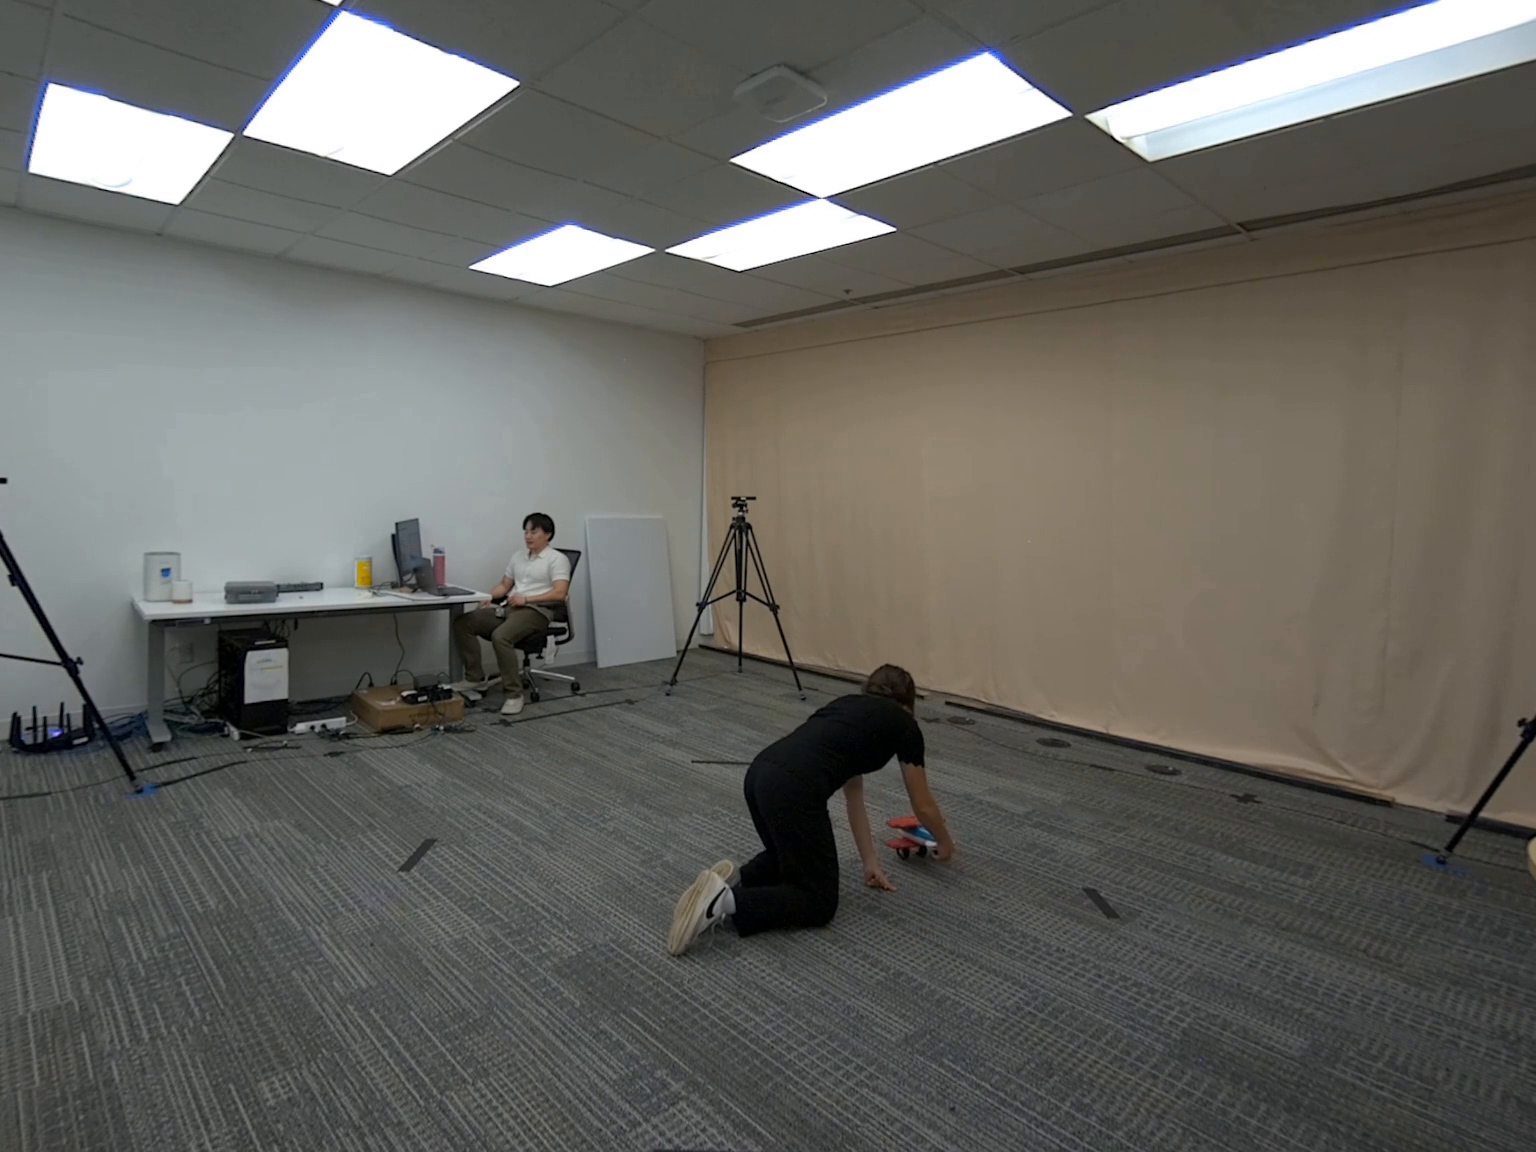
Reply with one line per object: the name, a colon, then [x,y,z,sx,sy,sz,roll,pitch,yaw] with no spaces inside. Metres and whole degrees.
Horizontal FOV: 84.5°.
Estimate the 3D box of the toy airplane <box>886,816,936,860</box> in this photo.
toy airplane: [0.601,1.012,3.269,0.263,0.158,0.244,-17,-18,33]
